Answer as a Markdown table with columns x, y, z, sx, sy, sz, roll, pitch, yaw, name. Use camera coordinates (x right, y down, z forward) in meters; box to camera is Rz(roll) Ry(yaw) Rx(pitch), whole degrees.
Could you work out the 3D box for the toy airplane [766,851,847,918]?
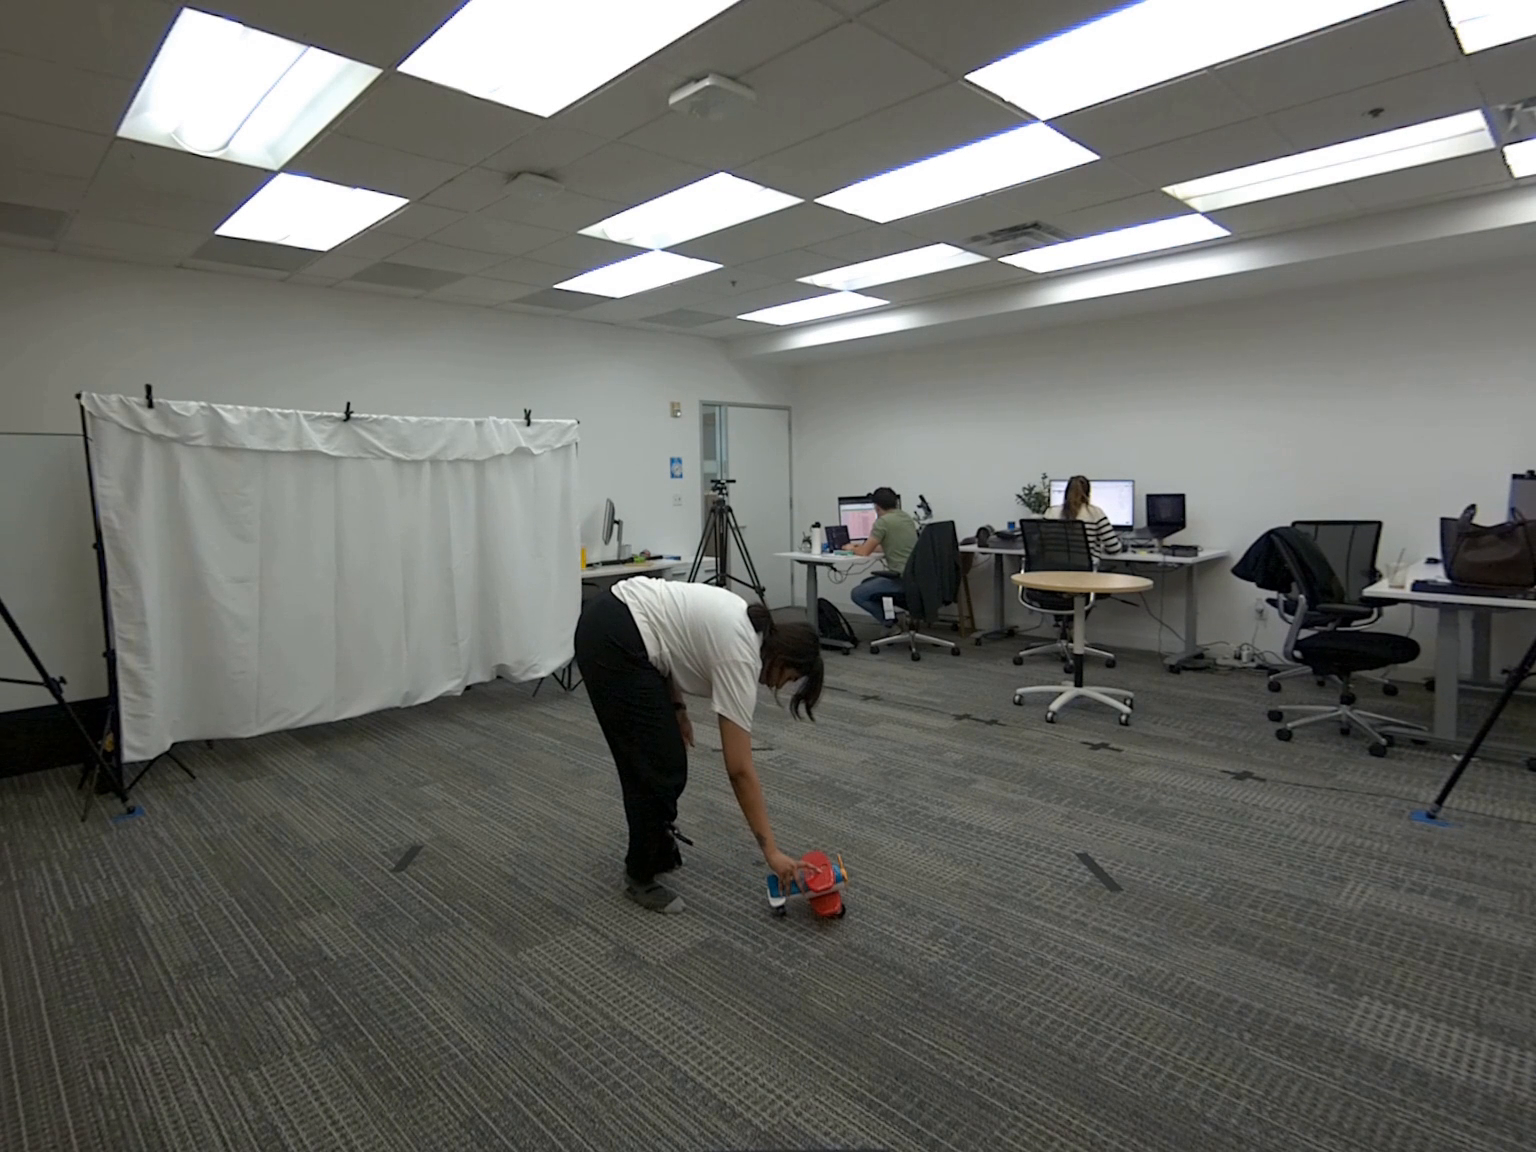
| x | y | z | sx | sy | sz | roll | pitch | yaw | name |
| --- | --- | --- | --- | --- | --- | --- | --- | --- | --- |
| 0.131 | 1.009 | 2.736 | 0.253 | 0.155 | 0.258 | -4 | 8 | -31 | toy airplane |
